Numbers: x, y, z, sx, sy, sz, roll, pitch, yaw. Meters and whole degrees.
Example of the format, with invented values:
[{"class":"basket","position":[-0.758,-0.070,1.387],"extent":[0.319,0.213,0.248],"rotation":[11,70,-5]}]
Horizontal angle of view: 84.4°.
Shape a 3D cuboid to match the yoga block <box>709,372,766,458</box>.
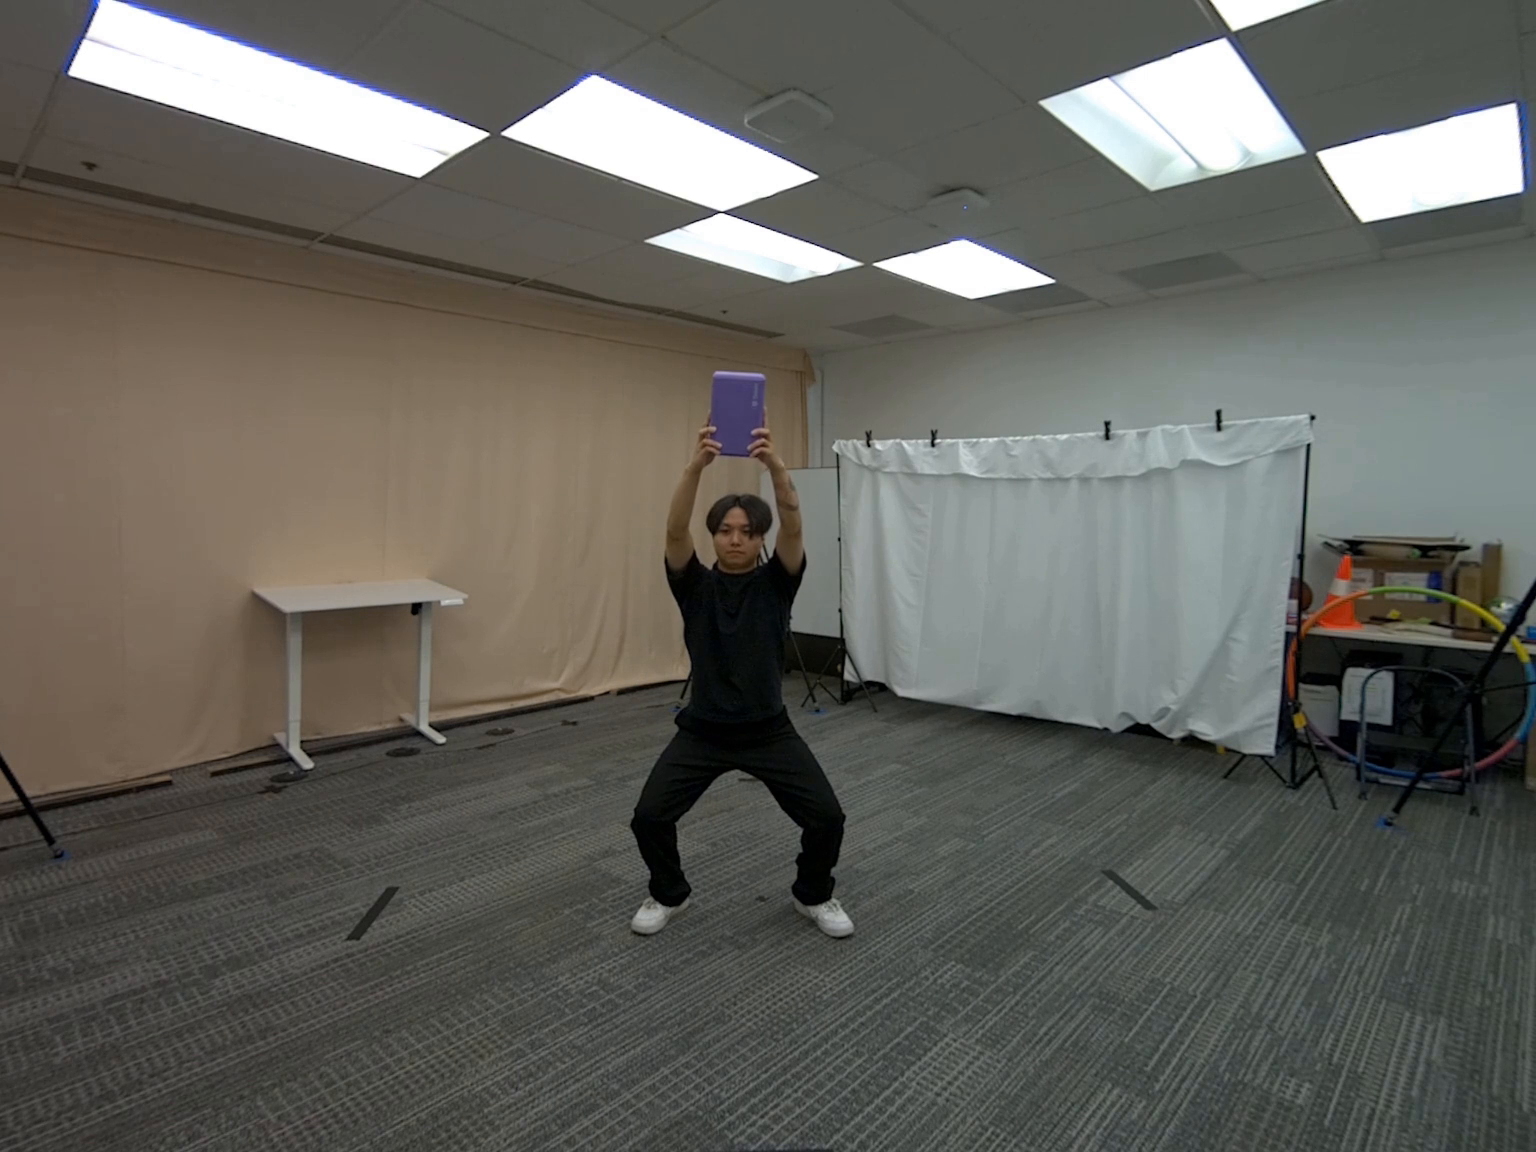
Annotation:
[{"class":"yoga block","position":[-0.086,-0.460,2.383],"extent":[0.150,0.227,0.077],"rotation":[7,19,5]}]
